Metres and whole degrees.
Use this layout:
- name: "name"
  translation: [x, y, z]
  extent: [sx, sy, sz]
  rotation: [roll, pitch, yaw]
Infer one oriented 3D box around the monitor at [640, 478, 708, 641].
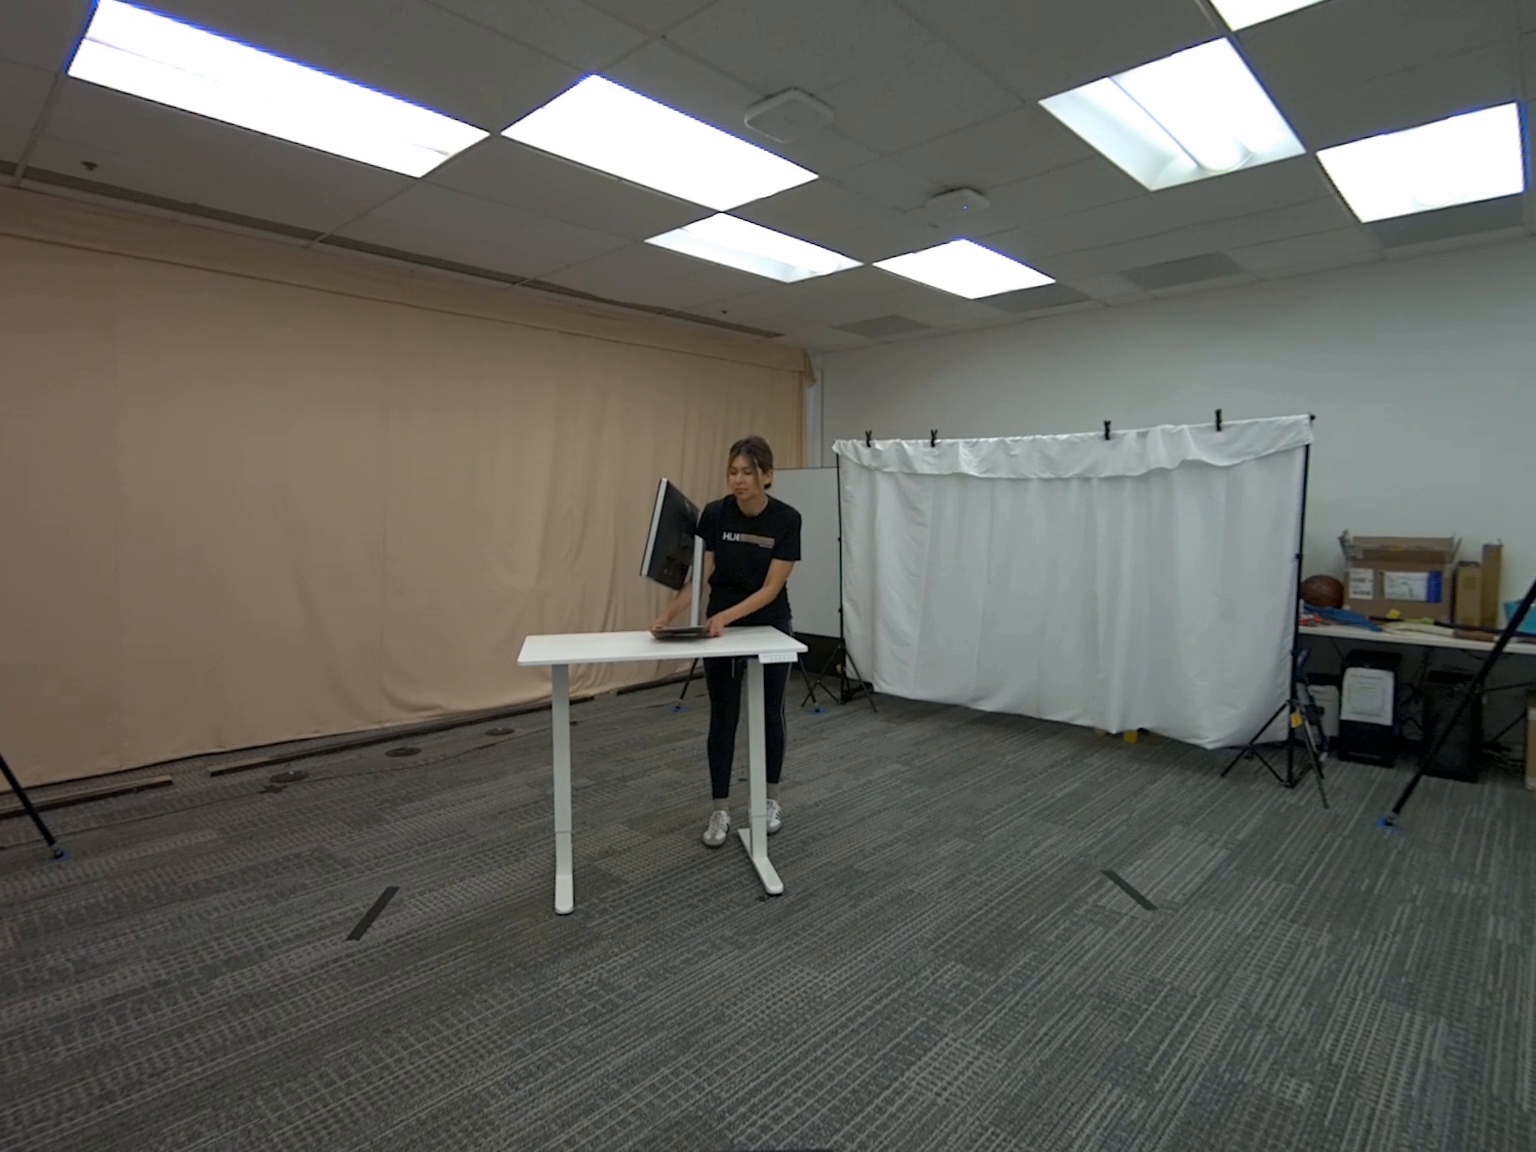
- name: "monitor"
  translation: [-0.339, -0.048, 3.255]
  extent: [0.189, 0.525, 0.531]
  rotation: [-1, -8, 8]
